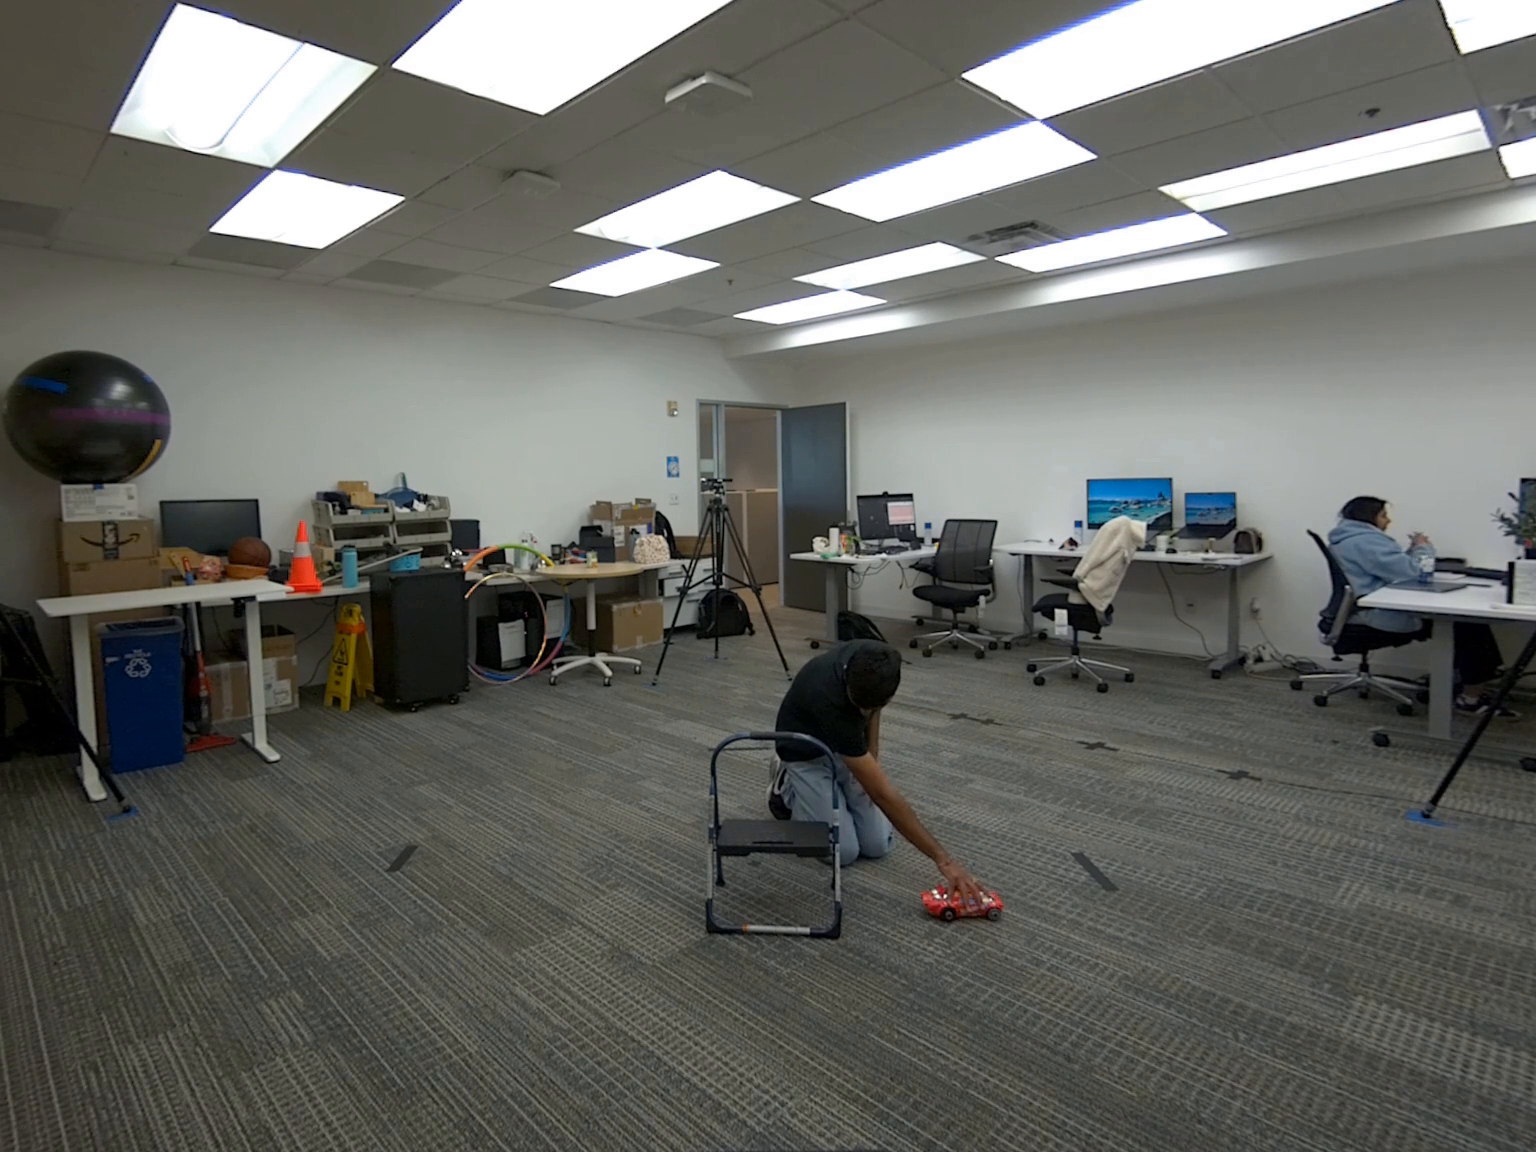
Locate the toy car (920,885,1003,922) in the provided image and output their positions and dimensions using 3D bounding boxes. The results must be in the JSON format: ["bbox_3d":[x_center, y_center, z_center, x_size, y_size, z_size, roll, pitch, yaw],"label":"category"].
[{"bbox_3d":[0.597,1.043,2.717,0.253,0.083,0.131,10,4,-4],"label":"toy car"}]
